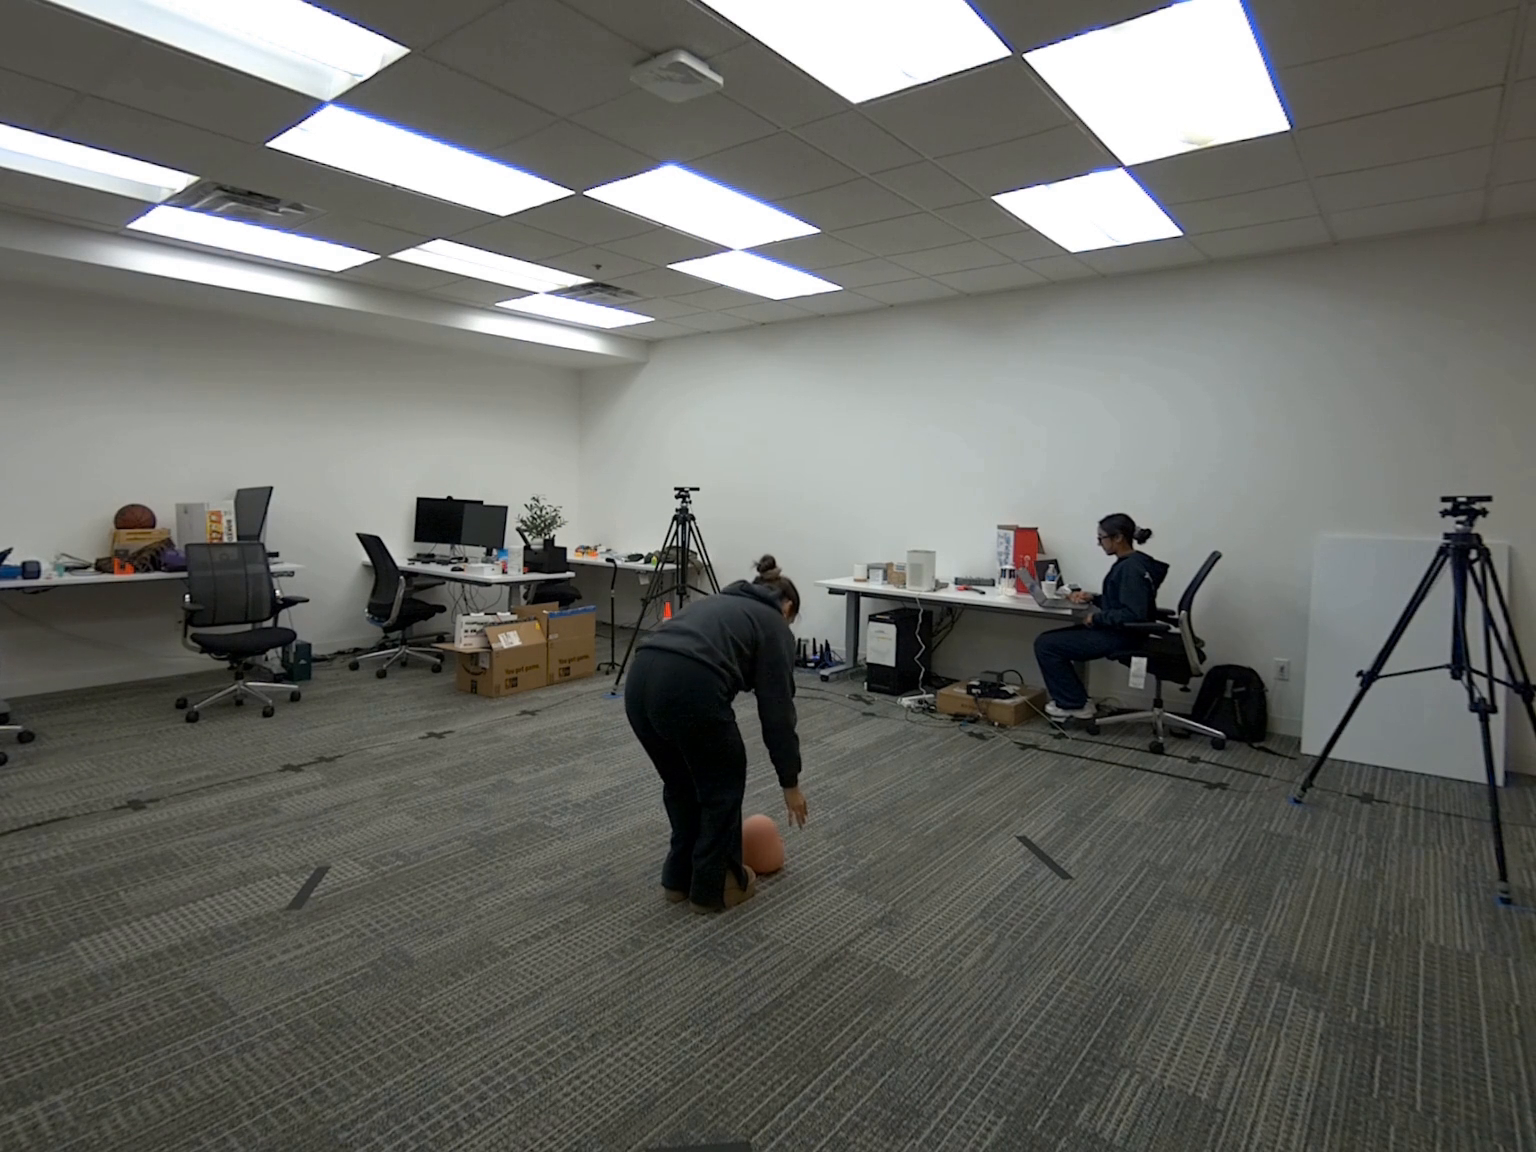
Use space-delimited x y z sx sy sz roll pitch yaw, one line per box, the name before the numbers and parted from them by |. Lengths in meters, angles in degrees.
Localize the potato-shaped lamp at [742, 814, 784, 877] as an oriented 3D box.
potato-shaped lamp | -0.021 0.989 3.110 0.203 0.164 0.167 39 6 19
